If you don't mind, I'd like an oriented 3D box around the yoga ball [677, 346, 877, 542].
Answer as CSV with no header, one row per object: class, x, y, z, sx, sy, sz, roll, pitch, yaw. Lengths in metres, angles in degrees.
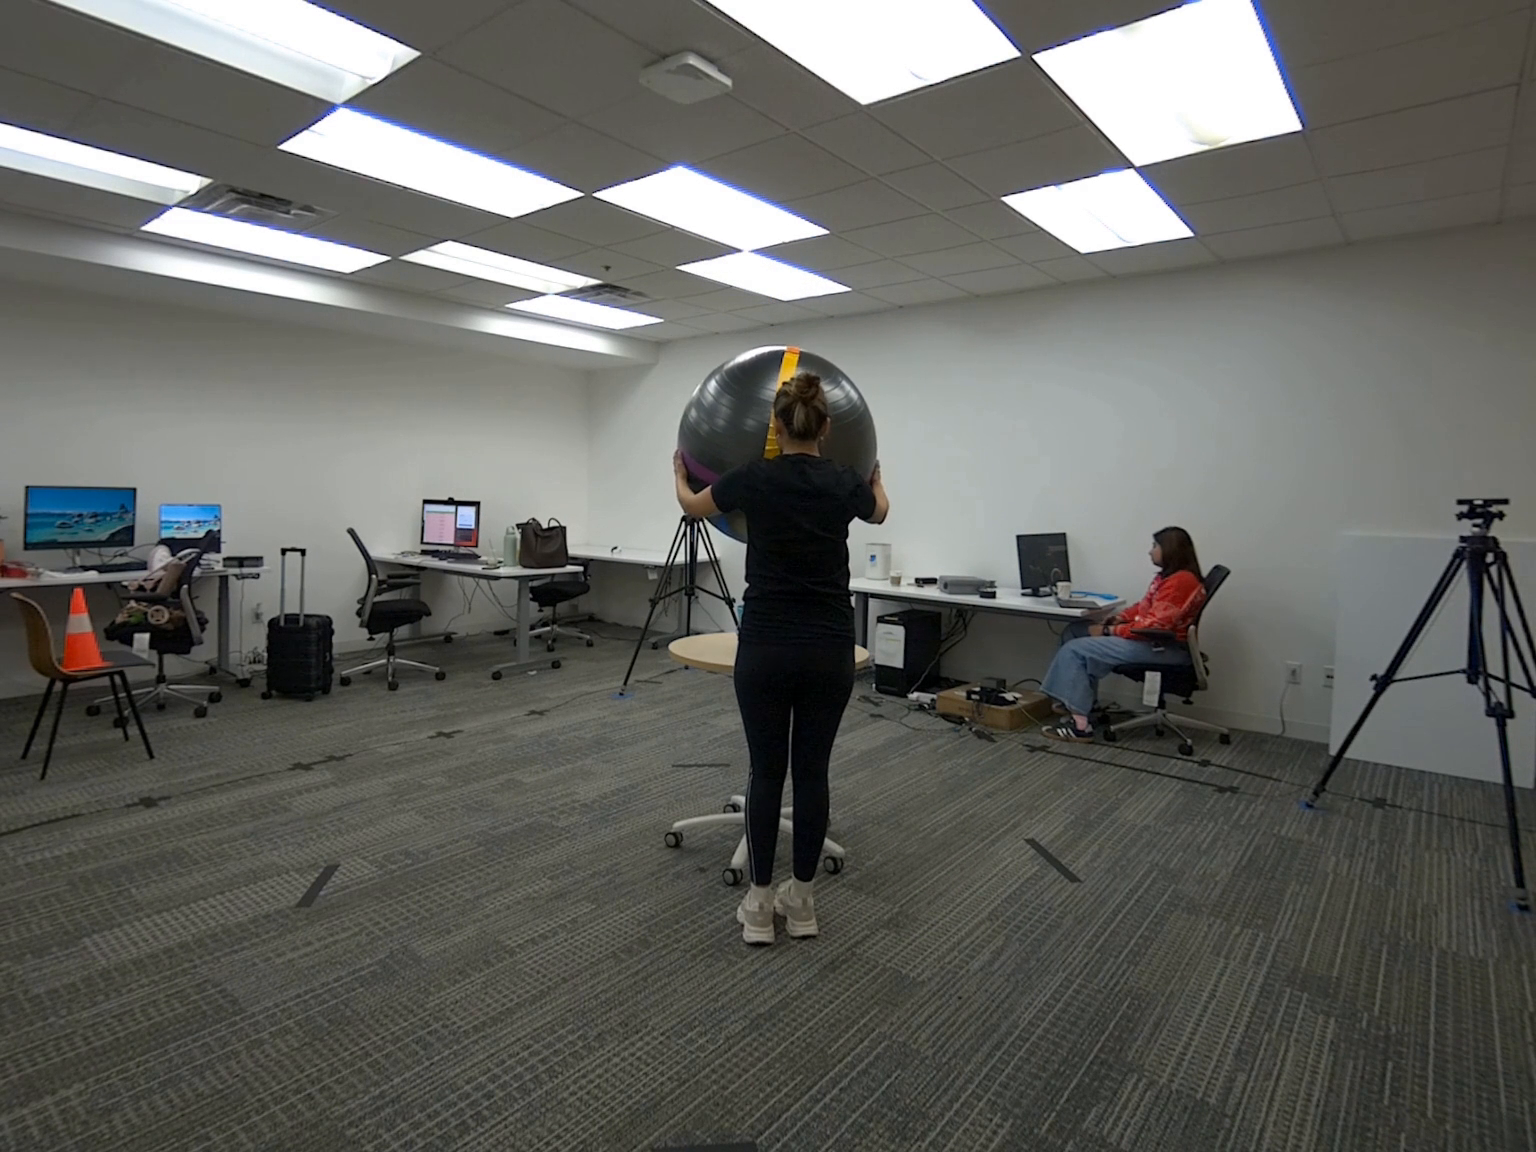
yoga ball,0.024,-0.485,3.243,0.757,0.756,0.762,1,4,-2
